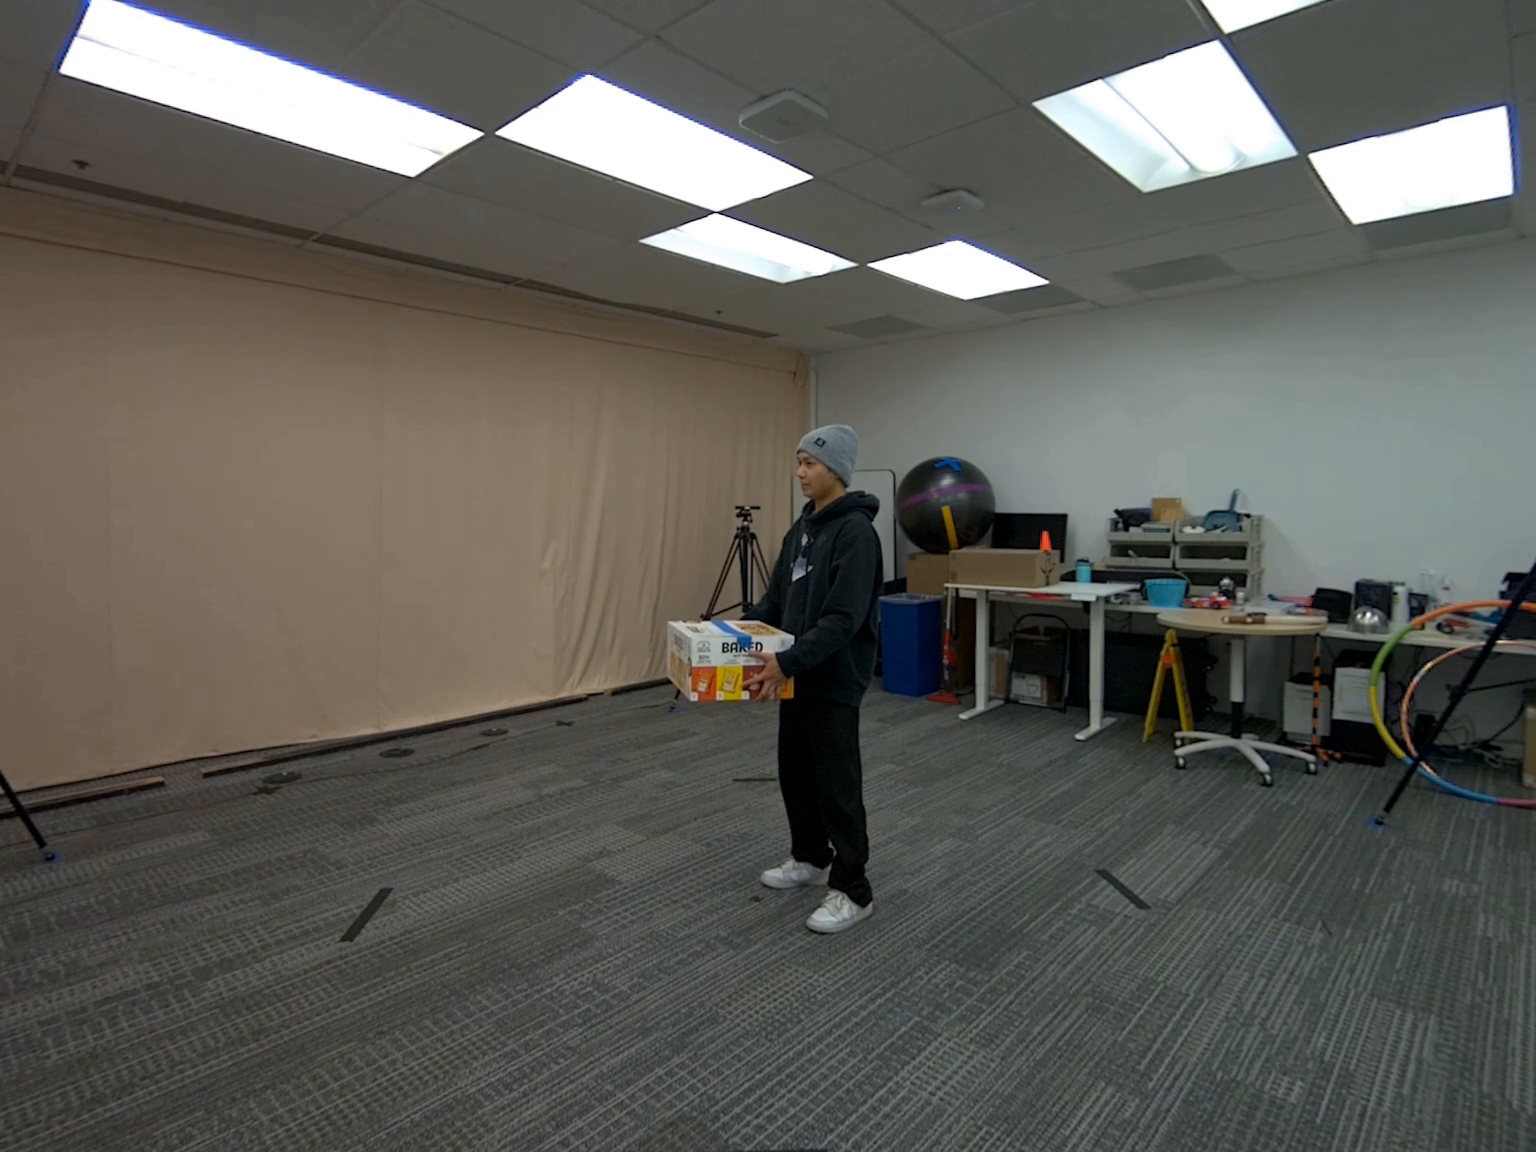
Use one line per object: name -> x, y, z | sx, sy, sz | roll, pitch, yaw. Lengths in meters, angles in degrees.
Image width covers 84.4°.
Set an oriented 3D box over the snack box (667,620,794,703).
snack box -> -0.138, 0.280, 2.858 | 0.335, 0.205, 0.412 | 1, 3, -16
